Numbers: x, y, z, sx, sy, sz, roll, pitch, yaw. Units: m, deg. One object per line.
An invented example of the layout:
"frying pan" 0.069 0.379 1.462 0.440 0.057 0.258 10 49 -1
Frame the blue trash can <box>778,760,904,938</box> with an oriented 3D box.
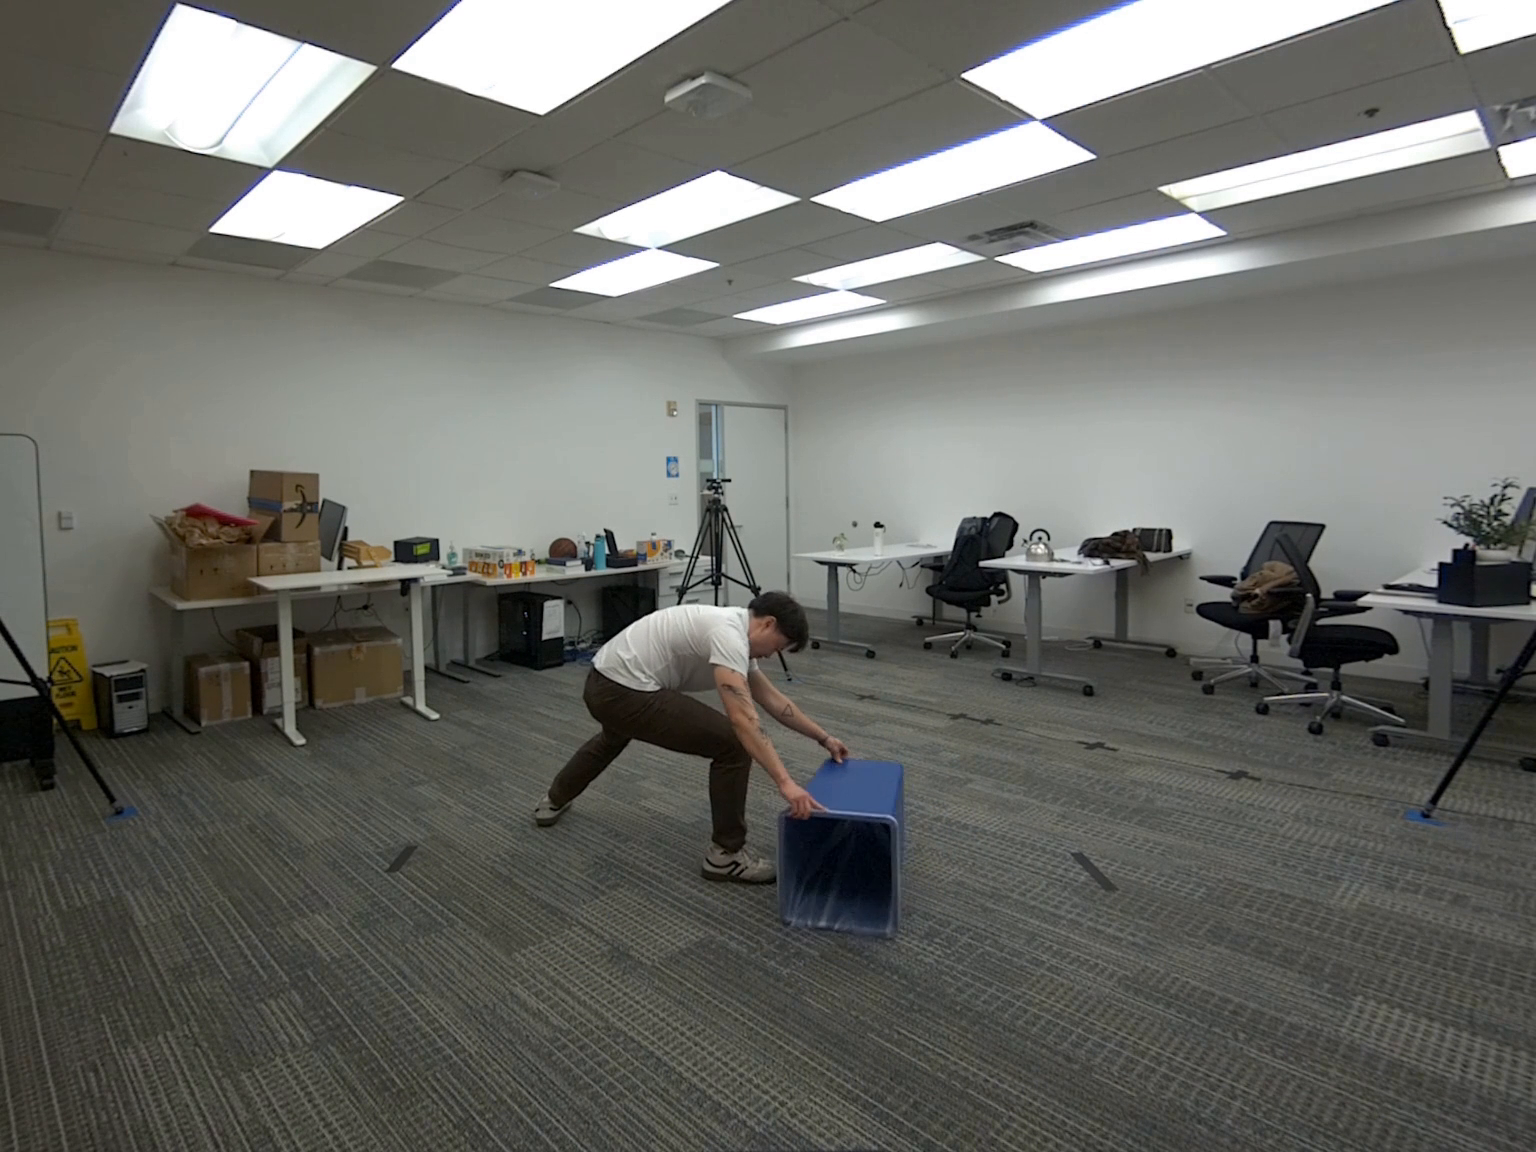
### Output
"blue trash can" 0.297 0.881 2.971 0.380 0.377 0.704 -2 3 15
